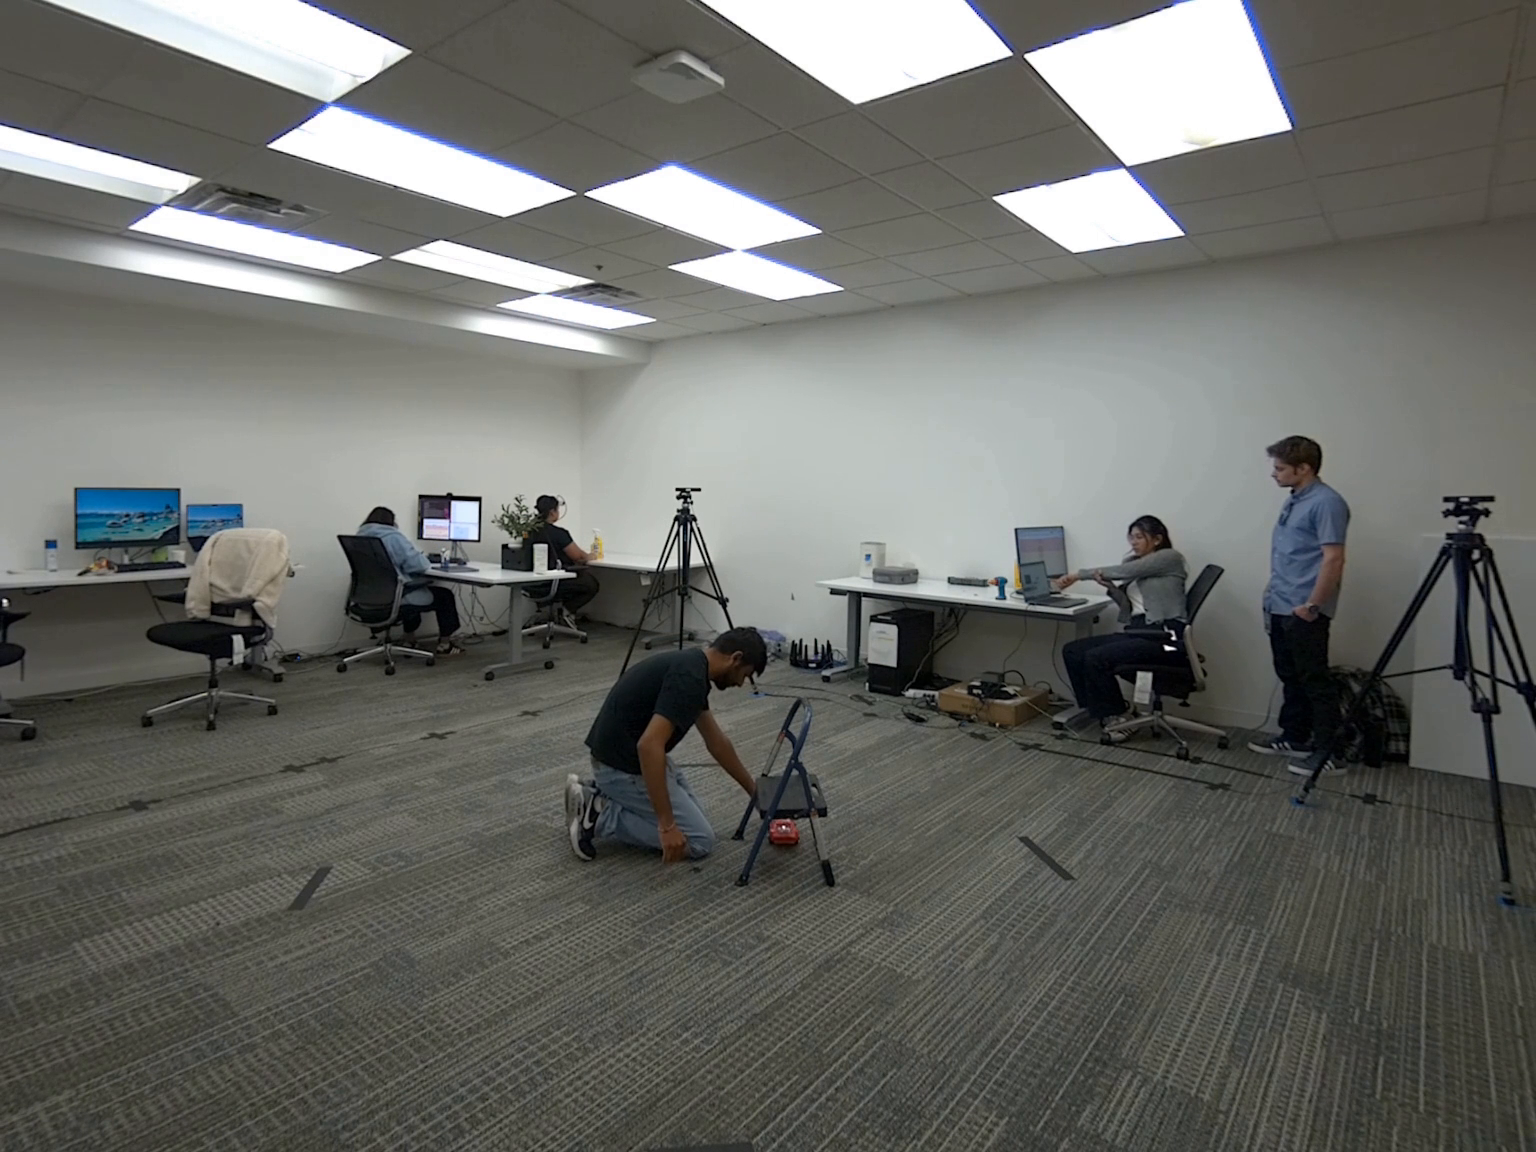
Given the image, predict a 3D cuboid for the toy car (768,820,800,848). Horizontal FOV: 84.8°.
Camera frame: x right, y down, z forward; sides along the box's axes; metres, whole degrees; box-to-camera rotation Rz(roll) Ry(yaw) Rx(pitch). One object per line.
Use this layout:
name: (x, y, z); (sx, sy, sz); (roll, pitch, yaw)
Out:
toy car: (0.051, 1.021, 3.412); (0.130, 0.084, 0.252); (2, -8, -2)
